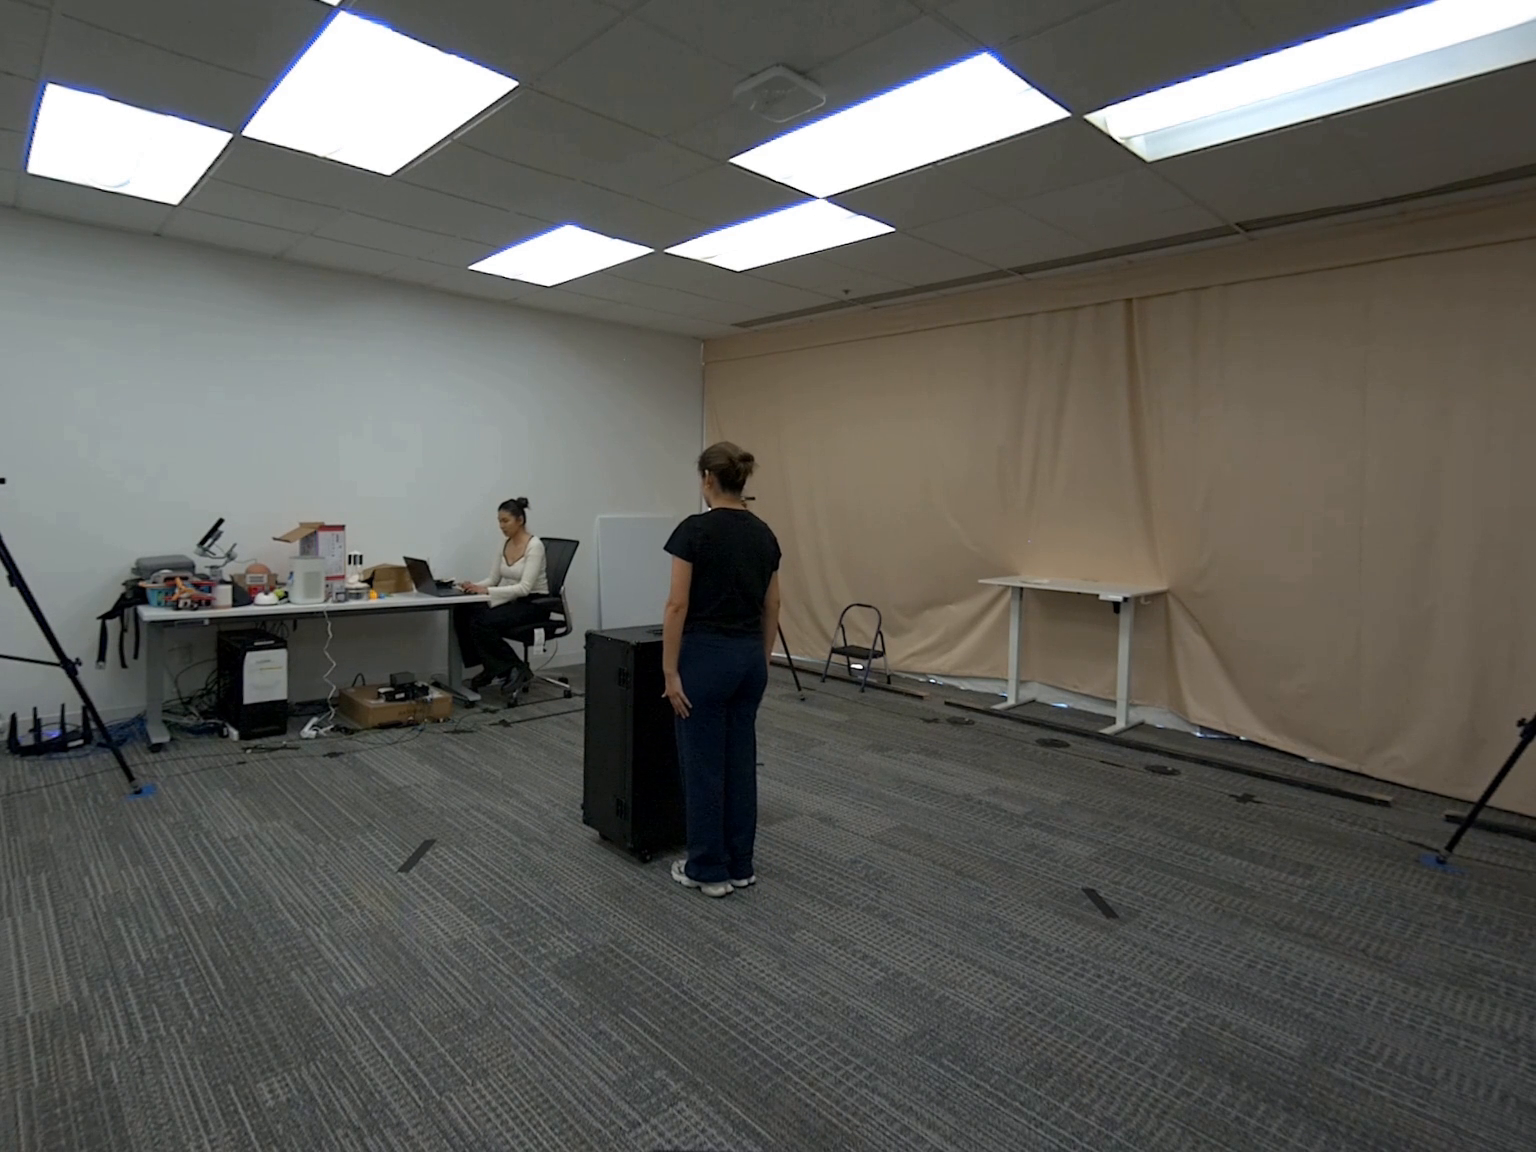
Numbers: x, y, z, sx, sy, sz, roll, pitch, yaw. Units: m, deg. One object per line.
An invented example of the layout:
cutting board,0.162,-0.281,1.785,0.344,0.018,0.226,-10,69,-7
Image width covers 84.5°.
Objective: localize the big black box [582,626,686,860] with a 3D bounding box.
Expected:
big black box,-0.456,0.650,3.389,0.509,0.860,0.406,-1,3,-40
